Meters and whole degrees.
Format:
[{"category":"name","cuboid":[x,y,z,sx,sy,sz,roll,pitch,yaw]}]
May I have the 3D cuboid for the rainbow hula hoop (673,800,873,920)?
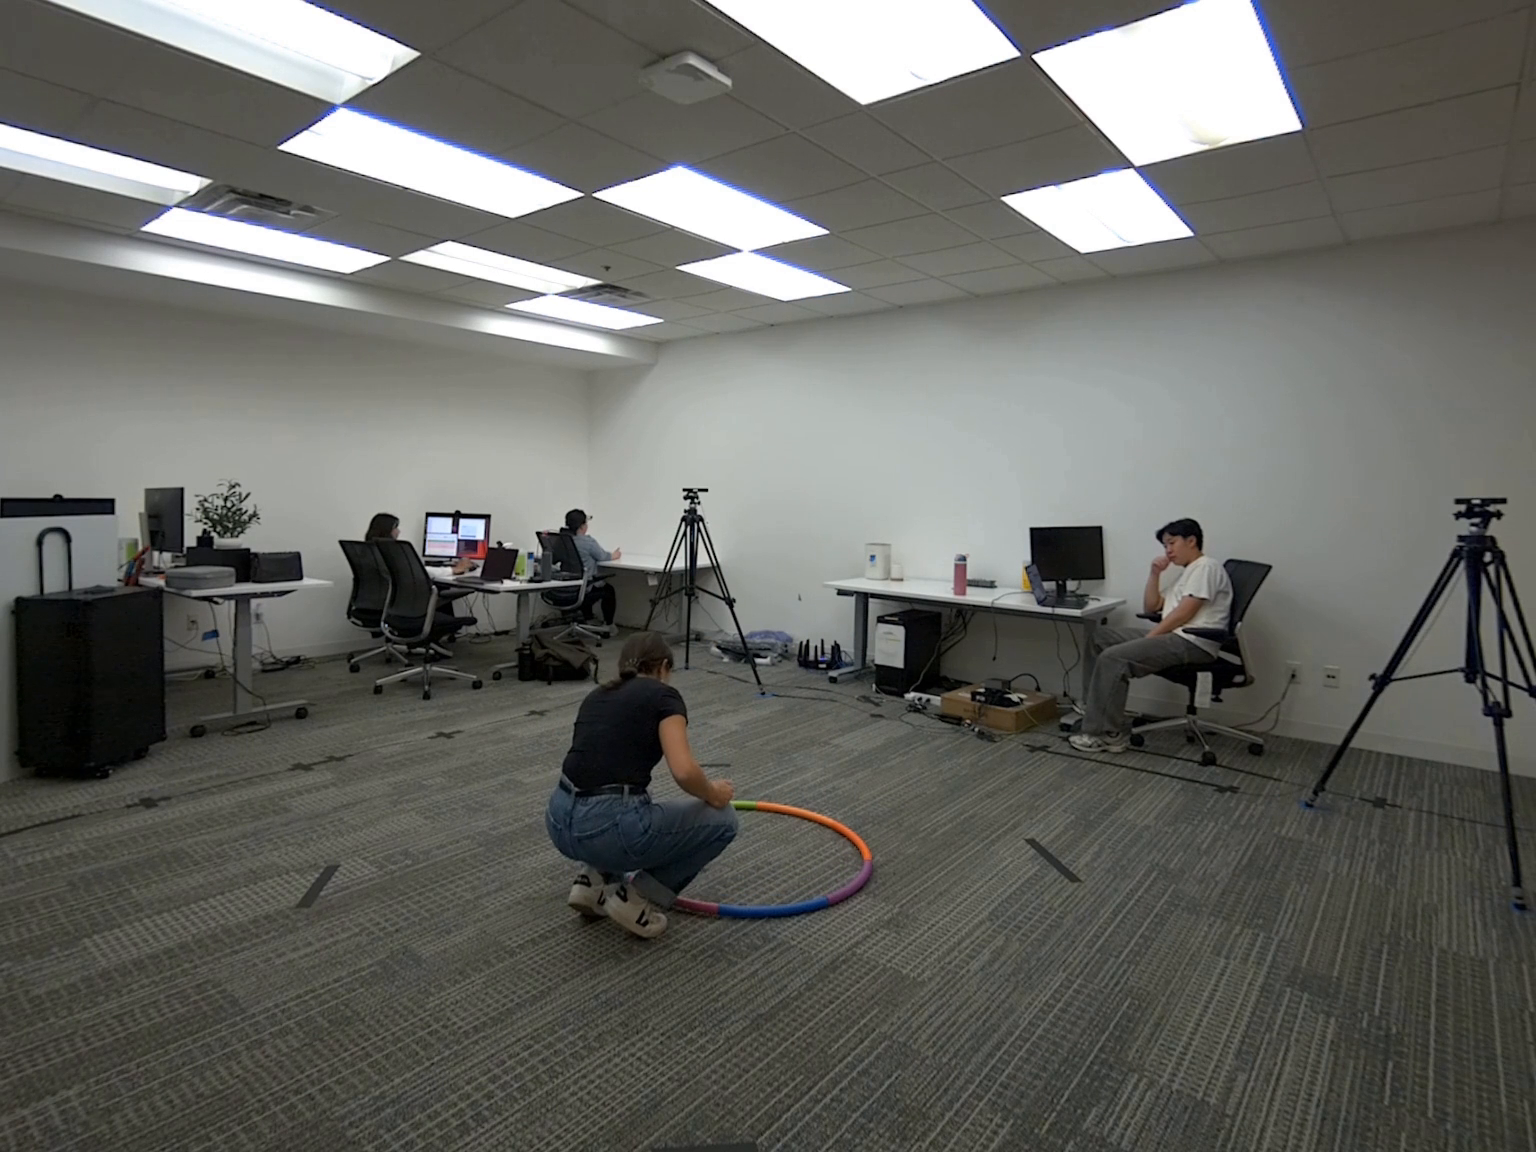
[{"category":"rainbow hula hoop","cuboid":[-0.097,1.022,3.231,0.978,0.035,0.984,1,6,-2]}]
